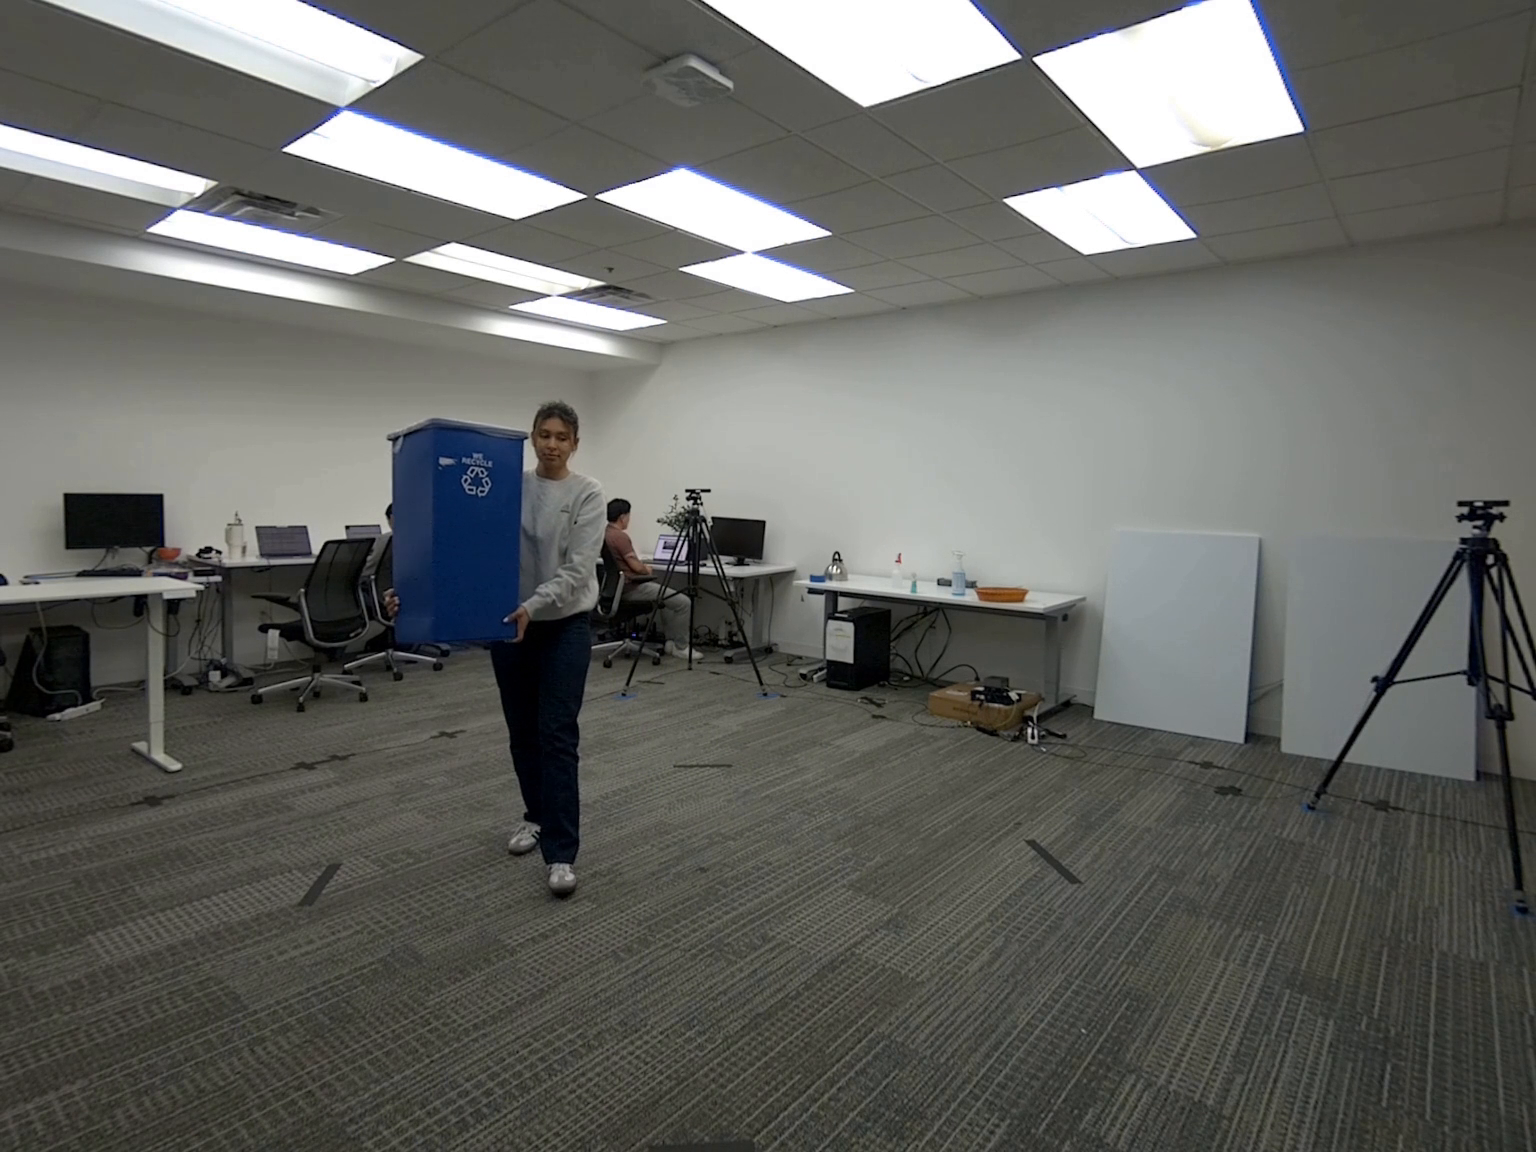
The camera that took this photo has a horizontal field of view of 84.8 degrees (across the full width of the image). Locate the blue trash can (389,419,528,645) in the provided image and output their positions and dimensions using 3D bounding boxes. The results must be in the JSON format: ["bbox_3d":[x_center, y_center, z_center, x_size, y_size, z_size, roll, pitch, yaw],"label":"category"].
[{"bbox_3d":[-1.075,-0.145,2.899,0.389,0.717,0.361,-4,-5,43],"label":"blue trash can"}]
